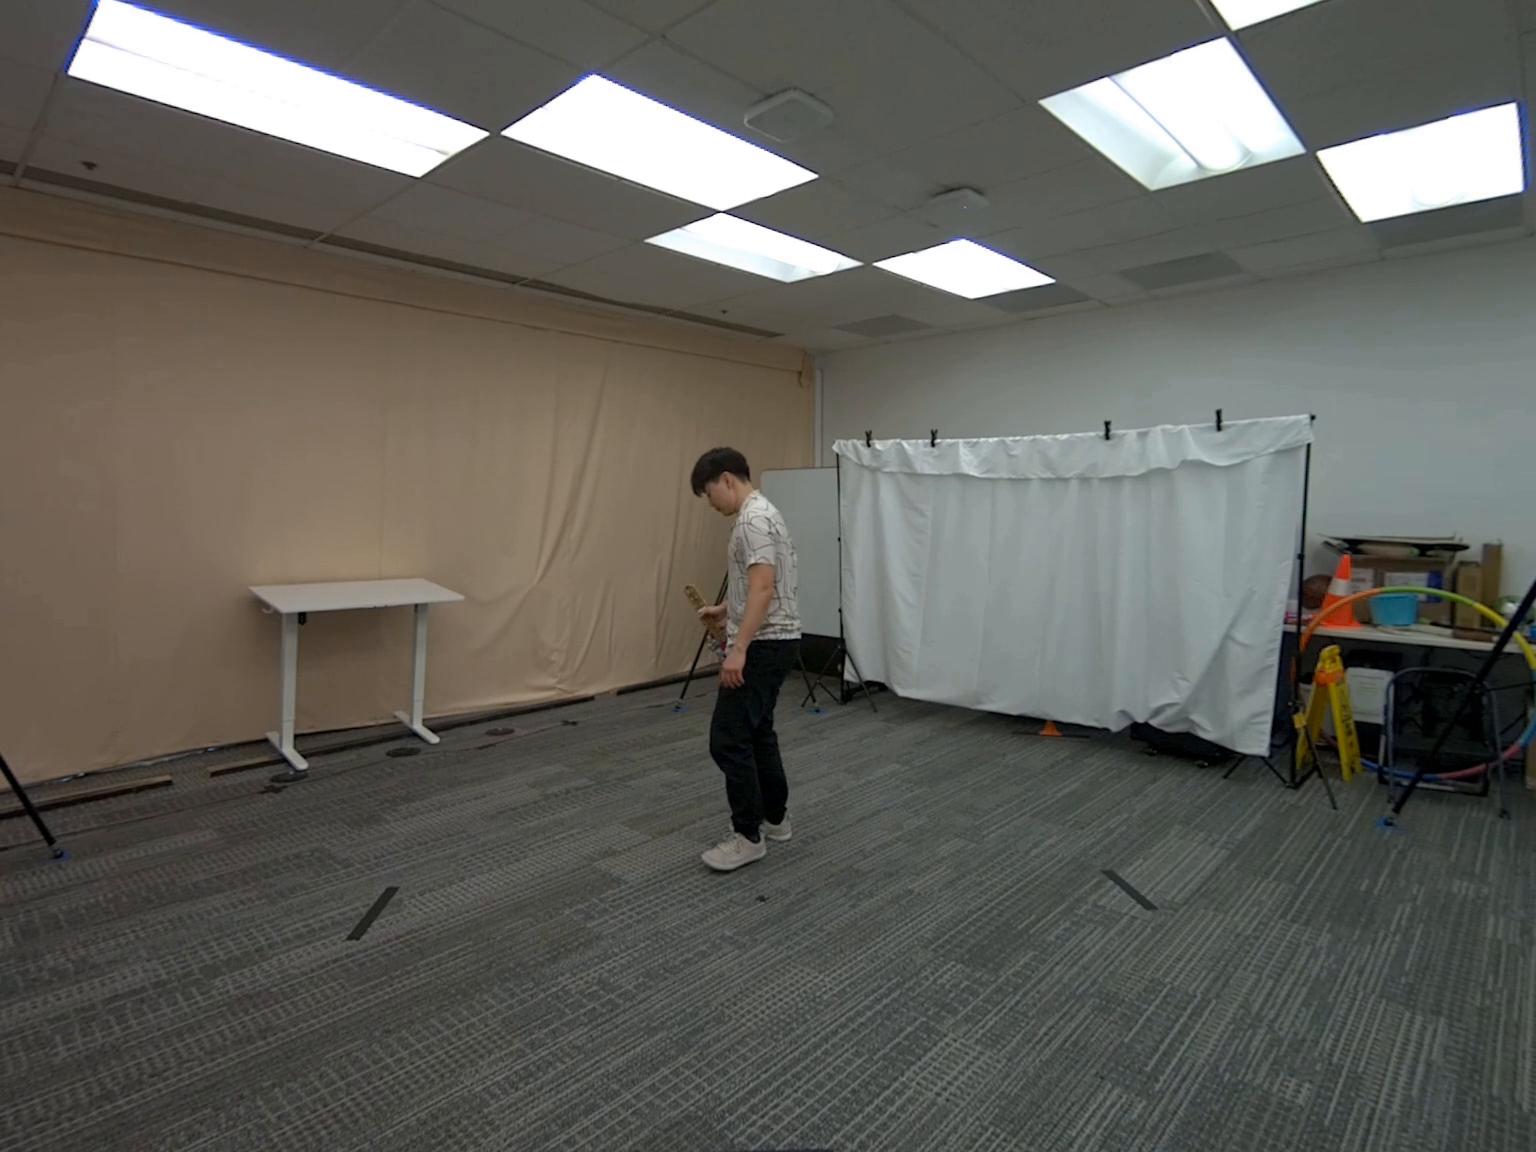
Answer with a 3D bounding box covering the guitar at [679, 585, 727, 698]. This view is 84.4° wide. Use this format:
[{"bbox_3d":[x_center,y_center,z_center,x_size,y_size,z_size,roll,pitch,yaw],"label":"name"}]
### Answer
[{"bbox_3d":[-0.209,0.243,3.836,0.195,0.496,0.070,-23,3,12],"label":"guitar"}]
